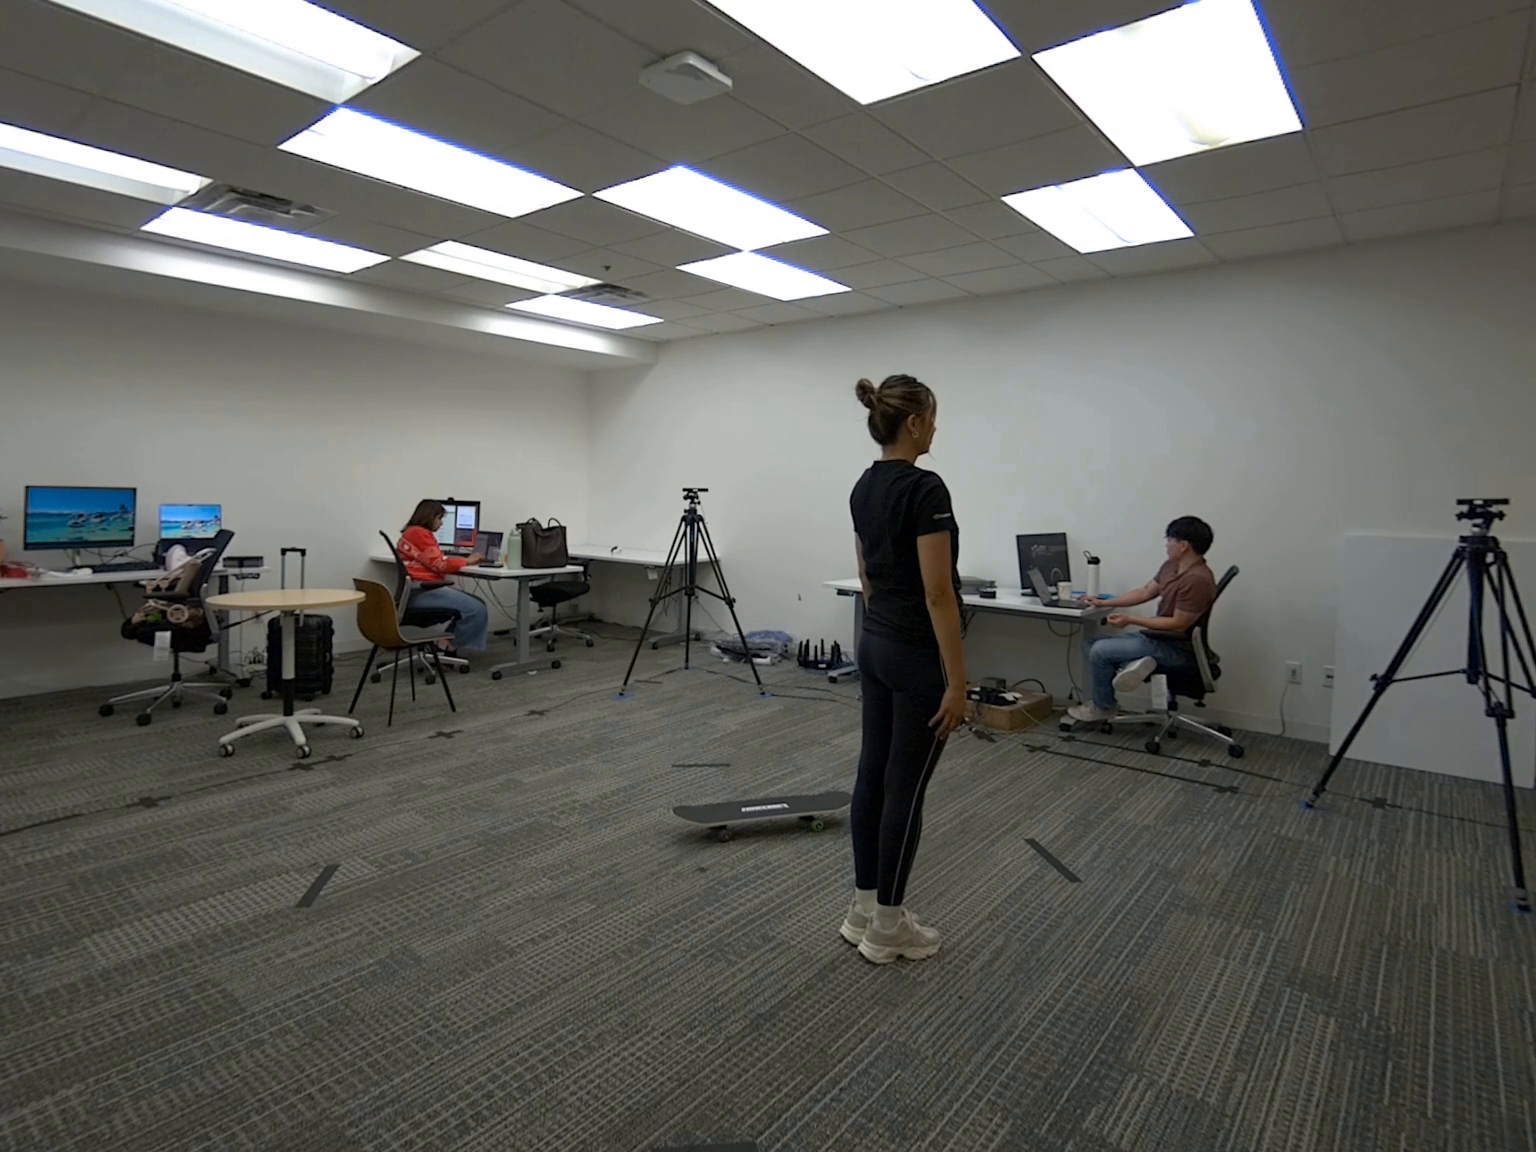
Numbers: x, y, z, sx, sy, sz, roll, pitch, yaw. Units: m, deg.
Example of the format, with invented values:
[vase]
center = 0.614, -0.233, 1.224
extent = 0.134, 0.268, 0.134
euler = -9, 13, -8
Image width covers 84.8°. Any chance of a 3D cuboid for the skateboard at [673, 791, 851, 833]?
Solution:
[skateboard]
center = -0.023, 0.980, 3.493
extent = 0.771, 0.110, 0.198
euler = -1, 6, -17
